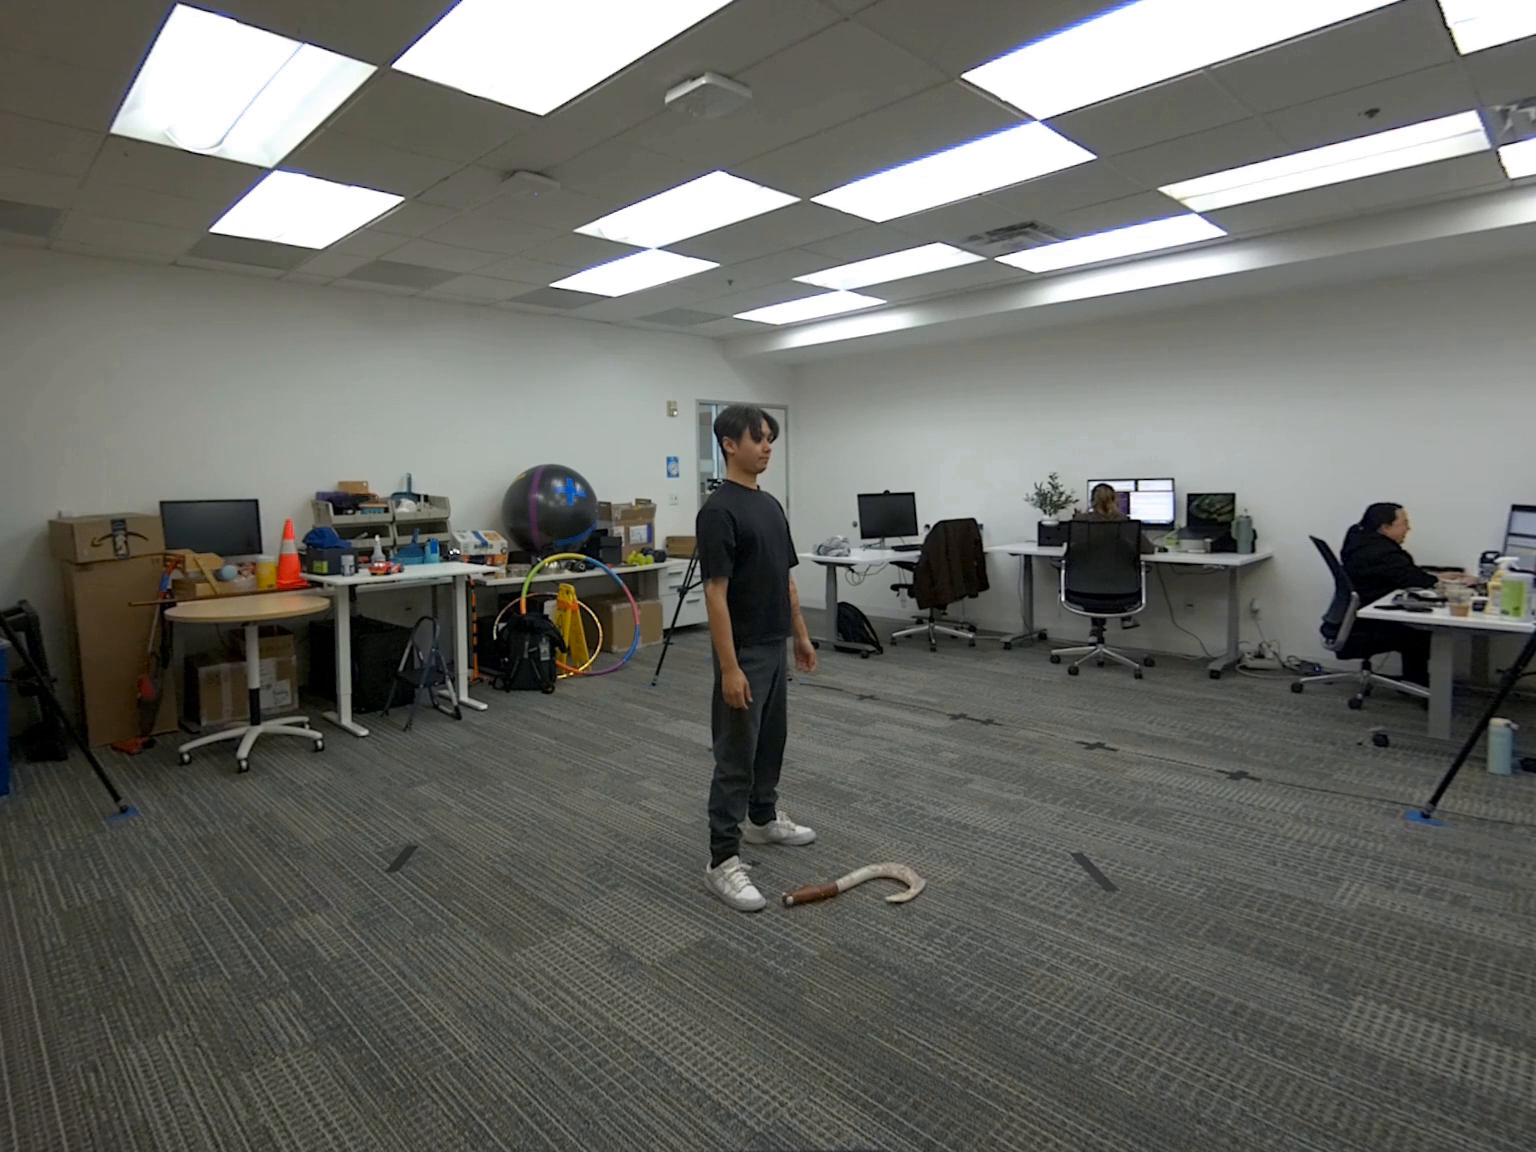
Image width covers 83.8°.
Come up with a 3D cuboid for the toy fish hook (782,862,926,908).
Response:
[{"bbox_3d":[0.298,1.045,2.843,0.496,0.048,0.230,-5,5,-27],"label":"toy fish hook"}]
